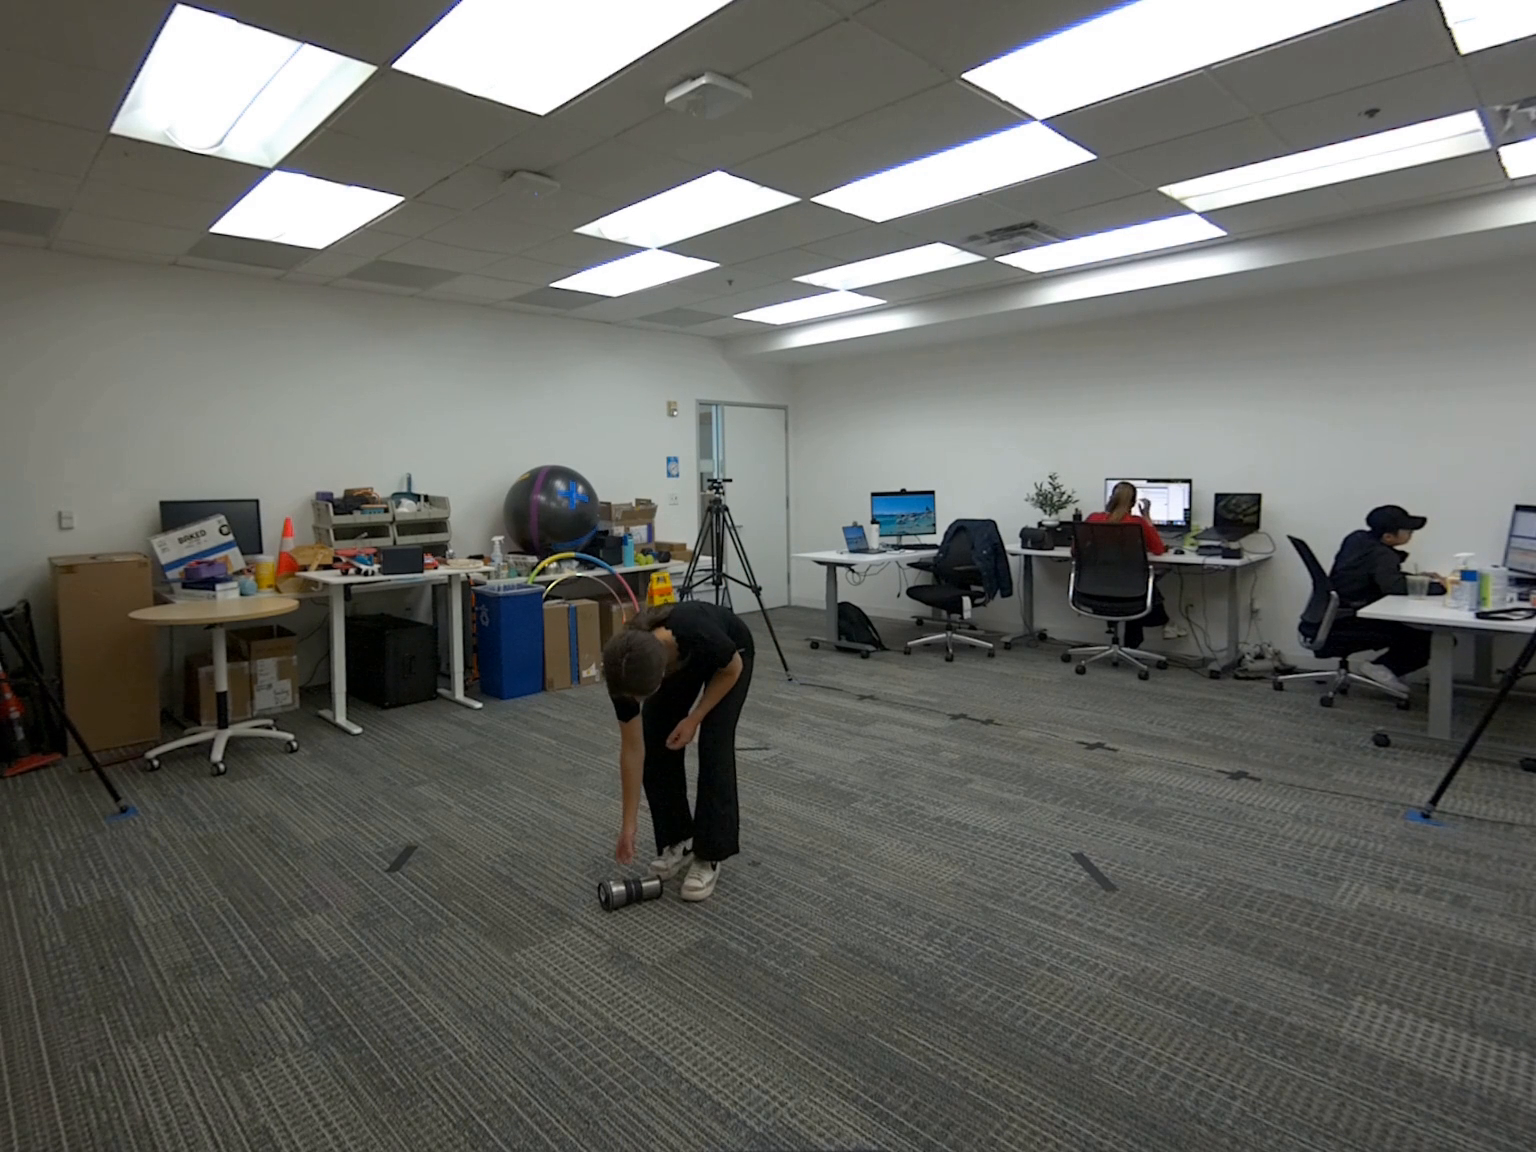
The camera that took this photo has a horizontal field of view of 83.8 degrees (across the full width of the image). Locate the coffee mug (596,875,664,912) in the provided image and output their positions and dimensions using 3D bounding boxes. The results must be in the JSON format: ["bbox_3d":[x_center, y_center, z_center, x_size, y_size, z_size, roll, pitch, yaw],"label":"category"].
[{"bbox_3d":[-0.457,1.033,2.848,0.198,0.087,0.126,-4,20,-28],"label":"coffee mug"}]
